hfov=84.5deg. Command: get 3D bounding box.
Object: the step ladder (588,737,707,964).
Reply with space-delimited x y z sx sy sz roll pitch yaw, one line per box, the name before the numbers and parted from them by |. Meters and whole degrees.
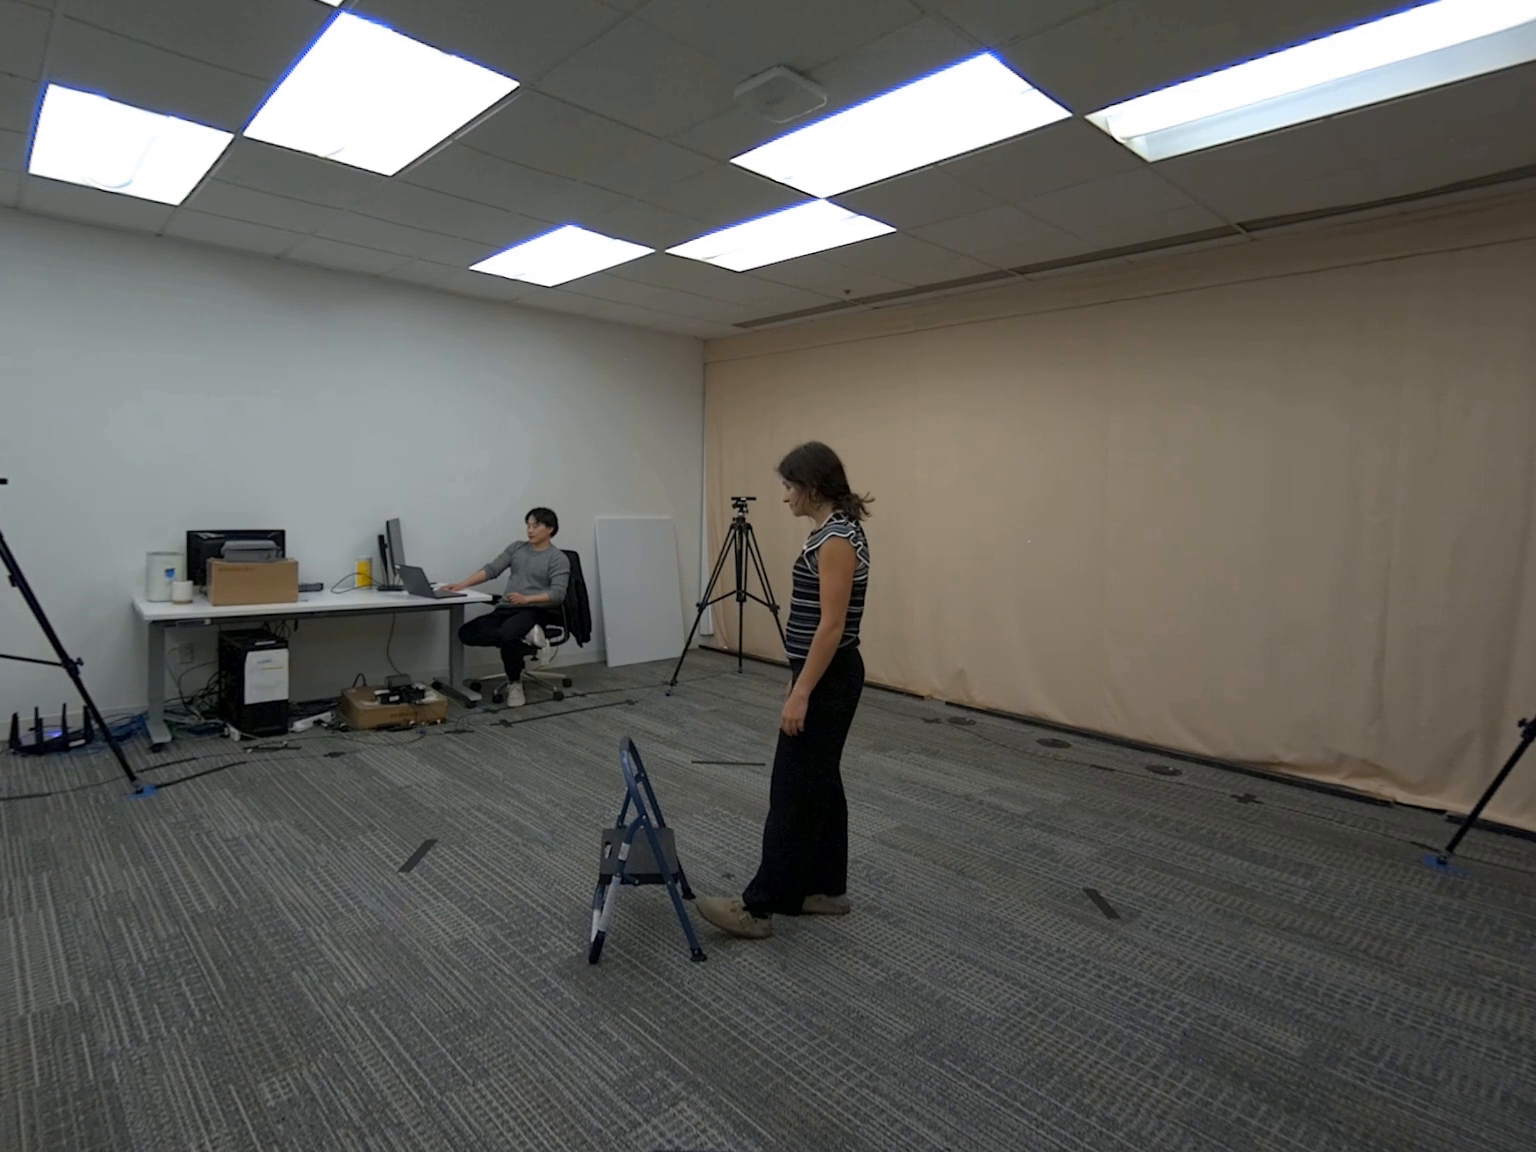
step ladder | -0.397 0.840 2.693 0.347 0.605 0.435 1 3 -10
